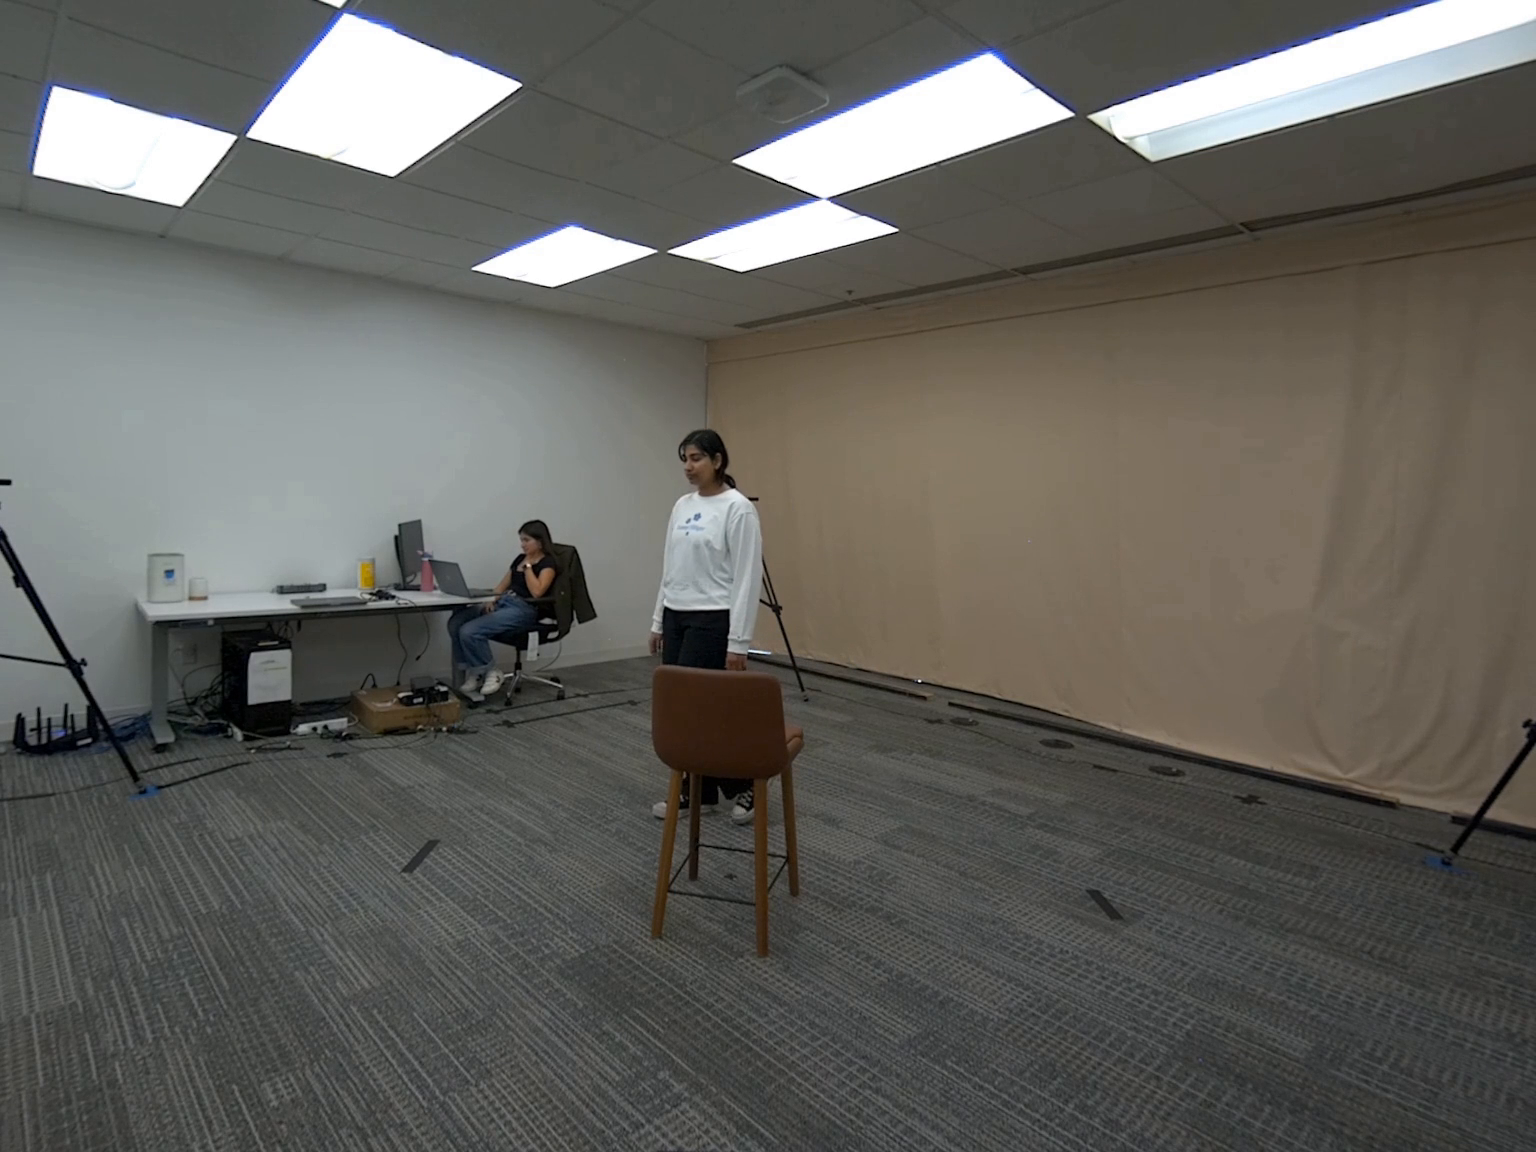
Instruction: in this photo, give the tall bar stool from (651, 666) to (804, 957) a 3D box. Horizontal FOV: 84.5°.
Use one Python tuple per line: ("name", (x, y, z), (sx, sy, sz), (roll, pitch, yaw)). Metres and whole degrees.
("tall bar stool", (-0.134, 0.703, 2.789), (0.462, 0.886, 0.463), (2, 5, 15))
